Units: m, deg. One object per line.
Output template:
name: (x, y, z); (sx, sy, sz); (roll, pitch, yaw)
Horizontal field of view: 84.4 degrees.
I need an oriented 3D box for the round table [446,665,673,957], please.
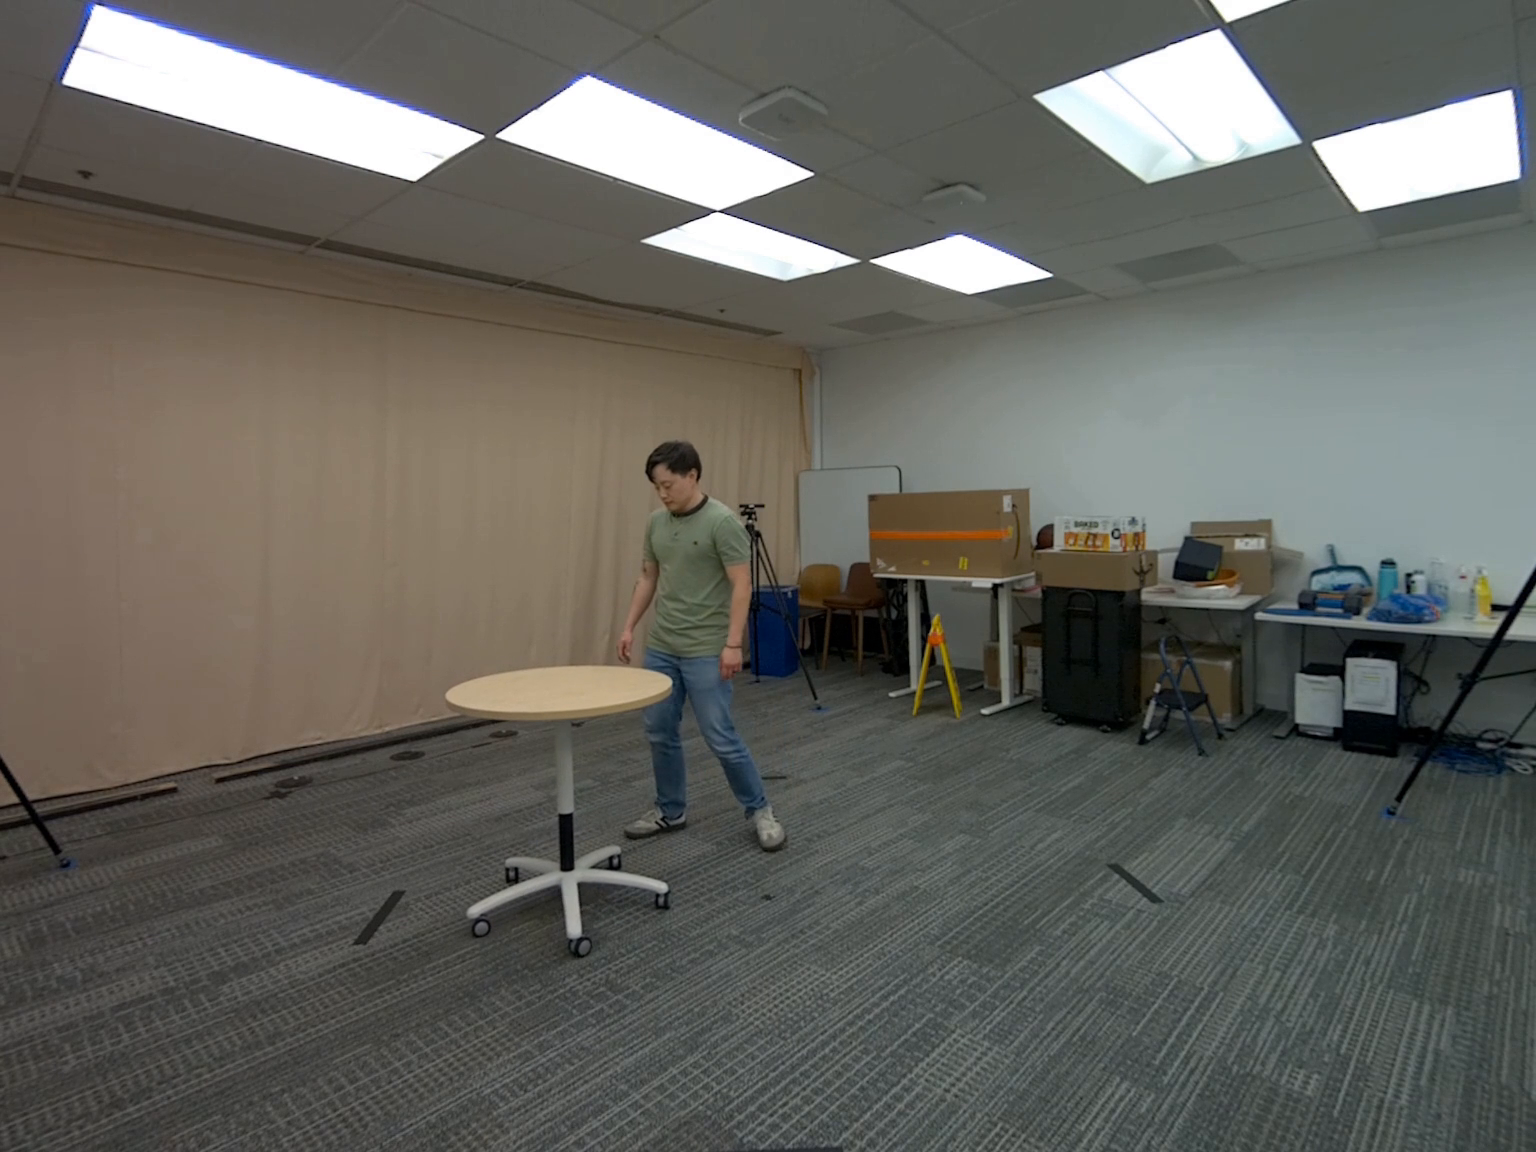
round table: (-0.698, 0.774, 2.918); (0.763, 0.792, 0.766); (-2, 3, -2)
